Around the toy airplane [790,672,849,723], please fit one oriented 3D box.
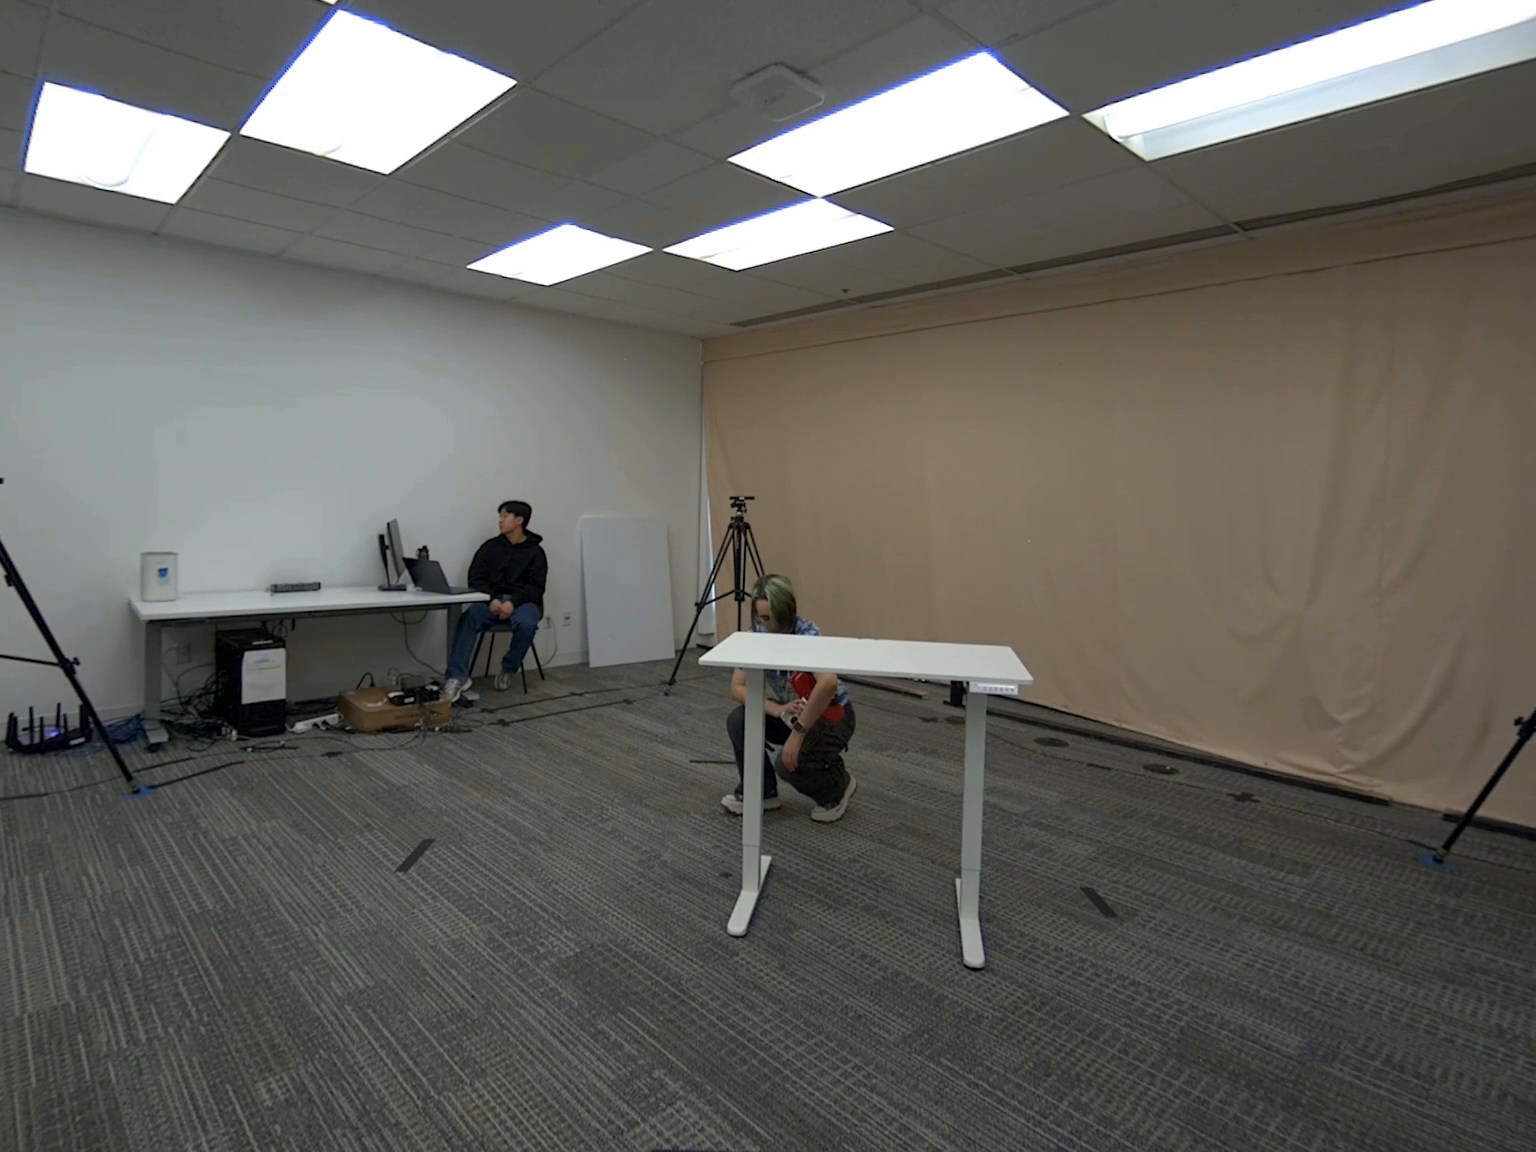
[{"bbox_3d":[0.143,0.519,3.484,0.259,0.250,0.157,-18,6,-2],"label":"toy airplane"}]
